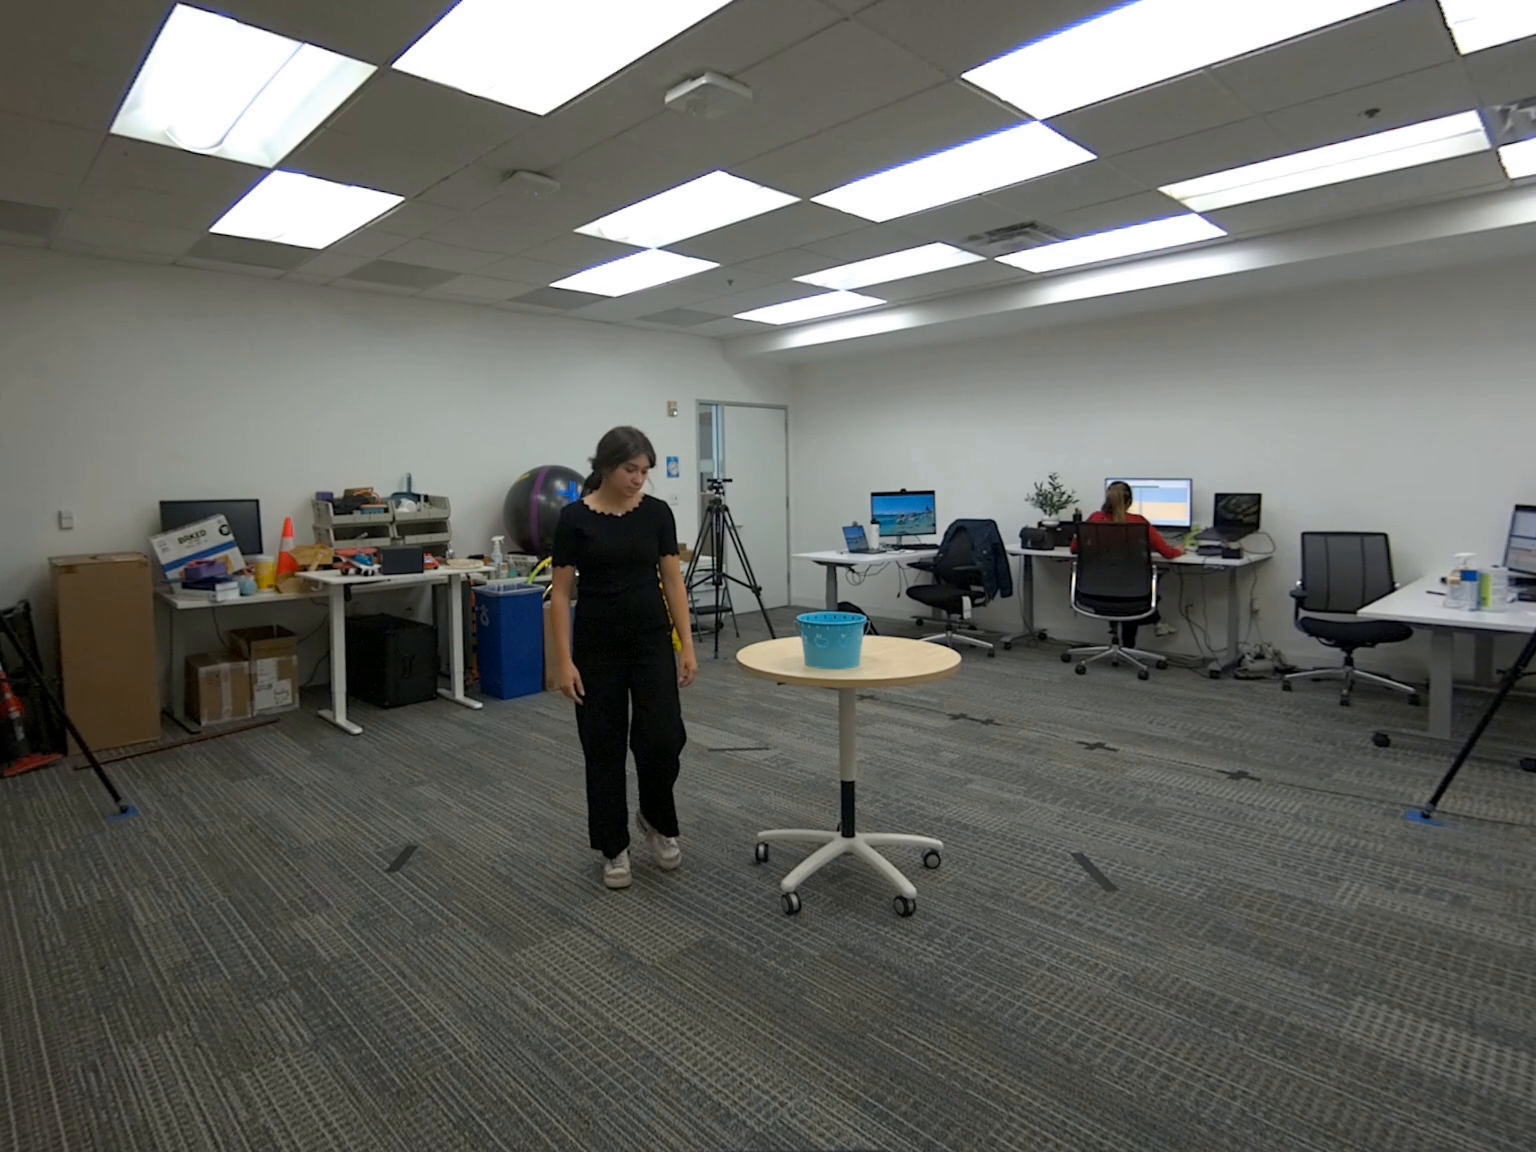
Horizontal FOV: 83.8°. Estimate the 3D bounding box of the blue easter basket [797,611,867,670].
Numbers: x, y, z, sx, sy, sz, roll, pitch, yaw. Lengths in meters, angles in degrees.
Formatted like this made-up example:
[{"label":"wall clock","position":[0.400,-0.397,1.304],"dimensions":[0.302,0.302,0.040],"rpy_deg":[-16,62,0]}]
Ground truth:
[{"label":"blue easter basket","position":[0.215,0.212,2.820],"dimensions":[0.243,0.155,0.245],"rpy_deg":[-2,6,-2]}]
